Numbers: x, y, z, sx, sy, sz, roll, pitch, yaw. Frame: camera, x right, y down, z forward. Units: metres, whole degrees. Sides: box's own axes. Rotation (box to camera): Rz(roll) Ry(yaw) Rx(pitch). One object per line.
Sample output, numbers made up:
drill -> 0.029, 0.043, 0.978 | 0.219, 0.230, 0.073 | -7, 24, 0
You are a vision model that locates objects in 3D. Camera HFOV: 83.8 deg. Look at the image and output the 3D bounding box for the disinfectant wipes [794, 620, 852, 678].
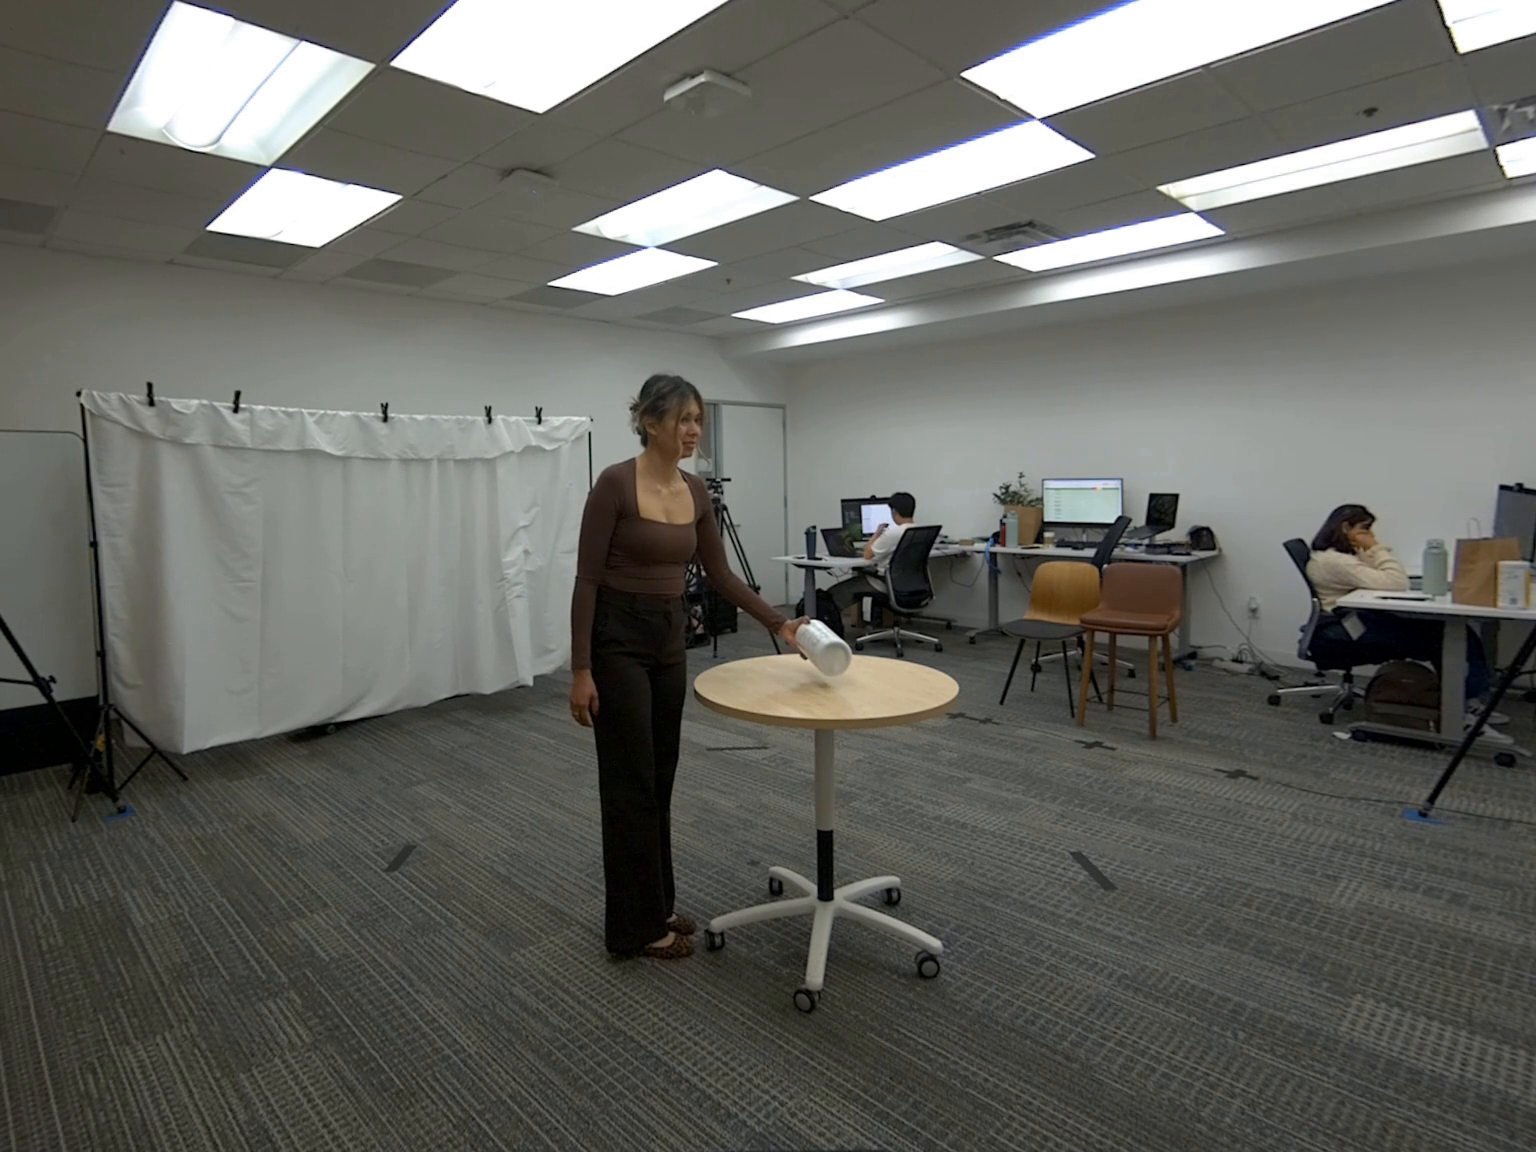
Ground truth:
disinfectant wipes -> 0.159, 0.208, 2.501 | 0.116, 0.116, 0.222 | -2, 12, -14
